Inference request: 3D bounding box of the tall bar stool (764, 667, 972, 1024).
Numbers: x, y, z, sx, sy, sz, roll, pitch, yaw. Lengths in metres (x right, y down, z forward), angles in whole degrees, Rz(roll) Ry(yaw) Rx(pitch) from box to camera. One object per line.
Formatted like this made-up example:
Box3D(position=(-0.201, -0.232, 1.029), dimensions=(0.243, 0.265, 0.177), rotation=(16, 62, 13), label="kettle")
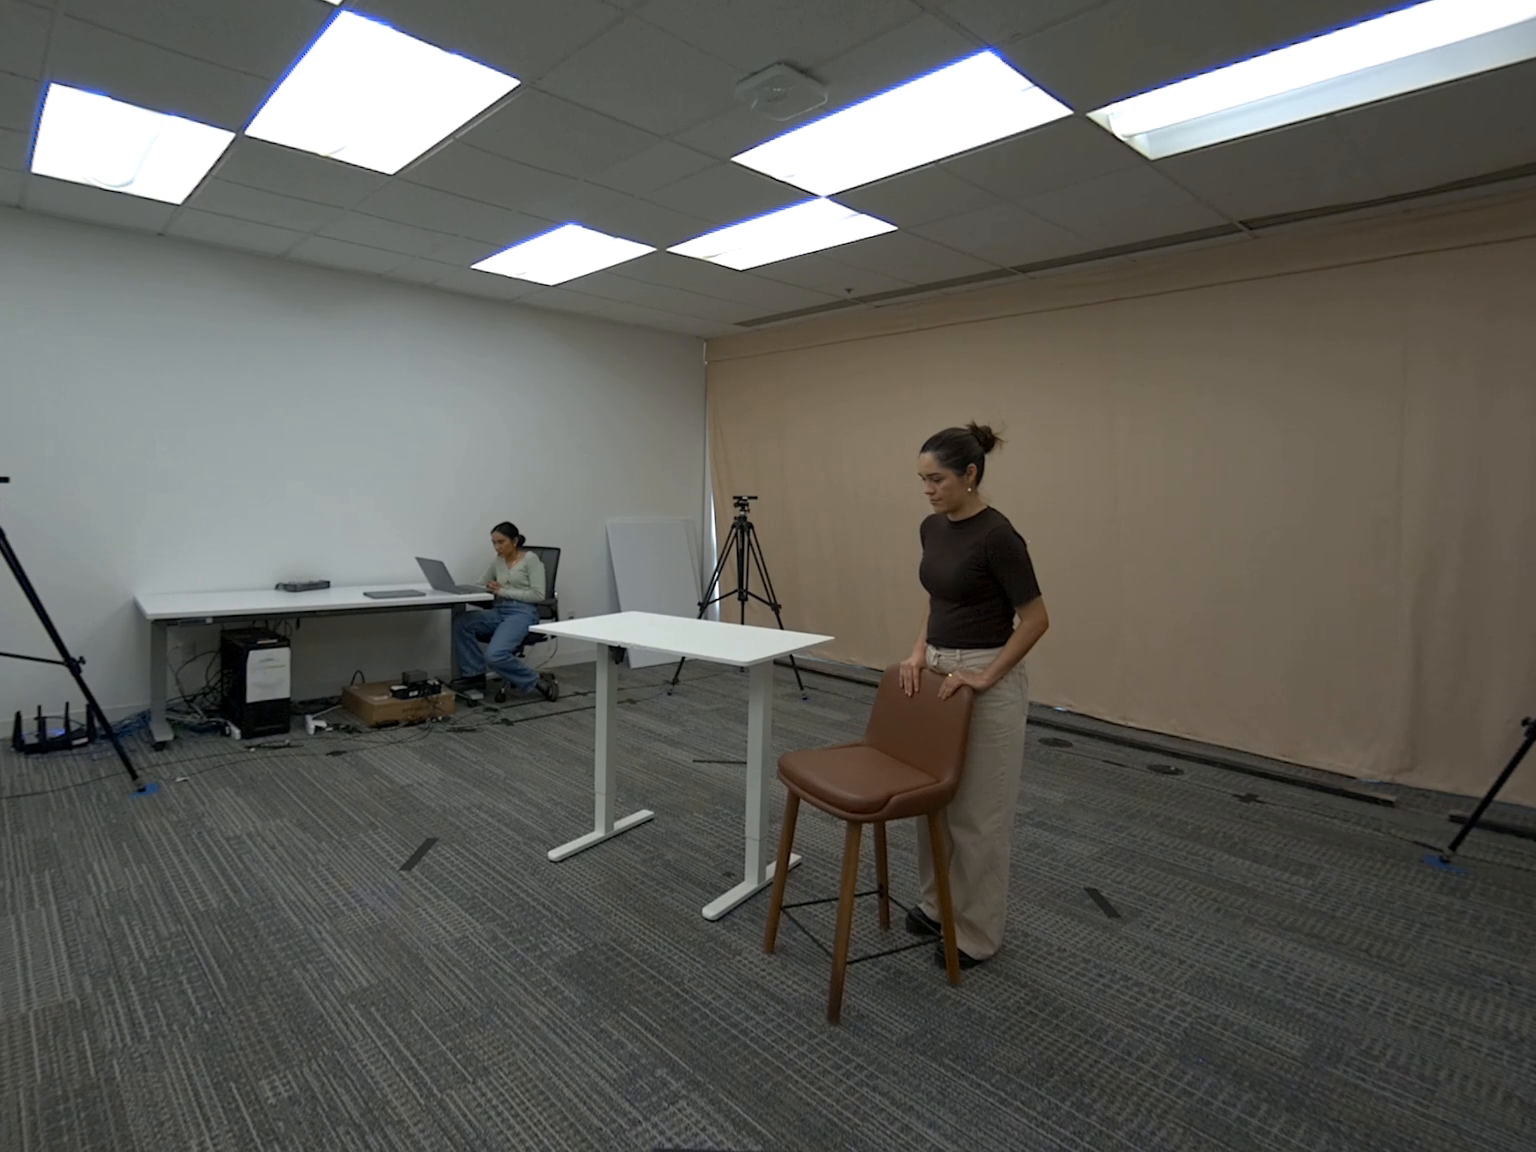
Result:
Box3D(position=(0.293, 0.735, 2.472), dimensions=(0.459, 0.888, 0.466), rotation=(1, 3, -26), label="tall bar stool")
